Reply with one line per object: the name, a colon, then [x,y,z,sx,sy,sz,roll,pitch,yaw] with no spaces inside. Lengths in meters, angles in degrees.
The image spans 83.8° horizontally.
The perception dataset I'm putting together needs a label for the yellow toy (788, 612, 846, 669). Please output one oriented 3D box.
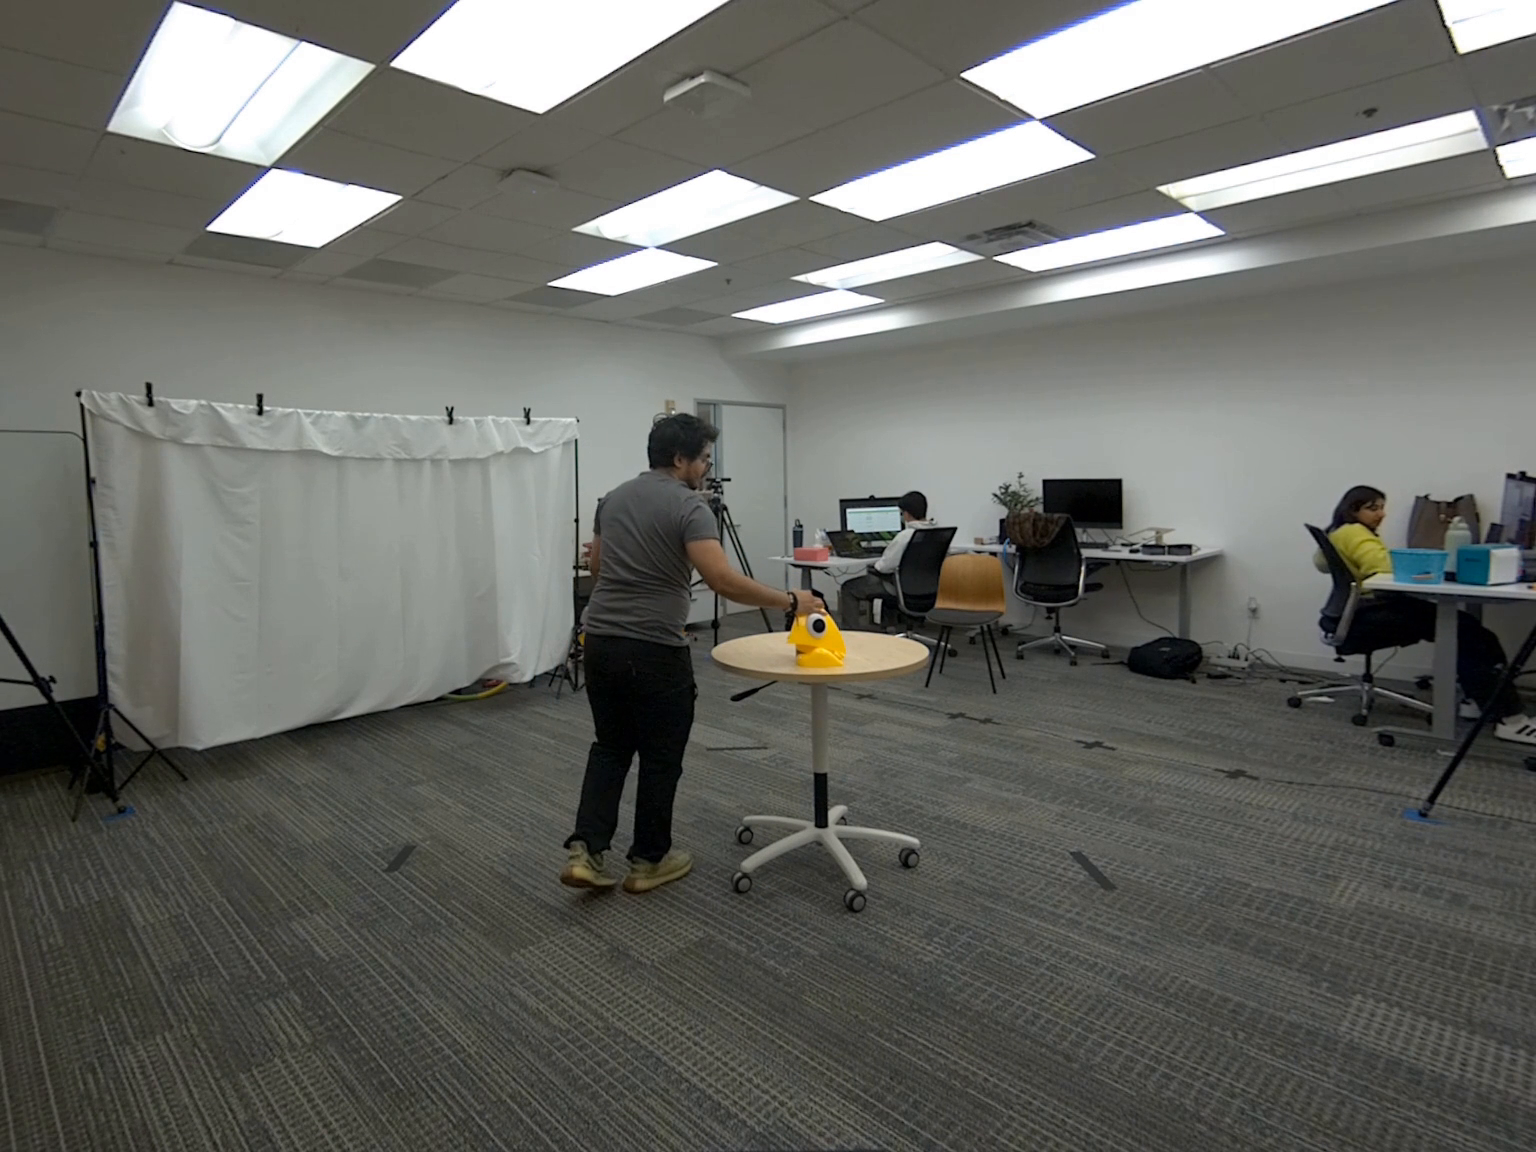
yellow toy: [0.163,0.165,2.853,0.195,0.229,0.204,0,6,9]
